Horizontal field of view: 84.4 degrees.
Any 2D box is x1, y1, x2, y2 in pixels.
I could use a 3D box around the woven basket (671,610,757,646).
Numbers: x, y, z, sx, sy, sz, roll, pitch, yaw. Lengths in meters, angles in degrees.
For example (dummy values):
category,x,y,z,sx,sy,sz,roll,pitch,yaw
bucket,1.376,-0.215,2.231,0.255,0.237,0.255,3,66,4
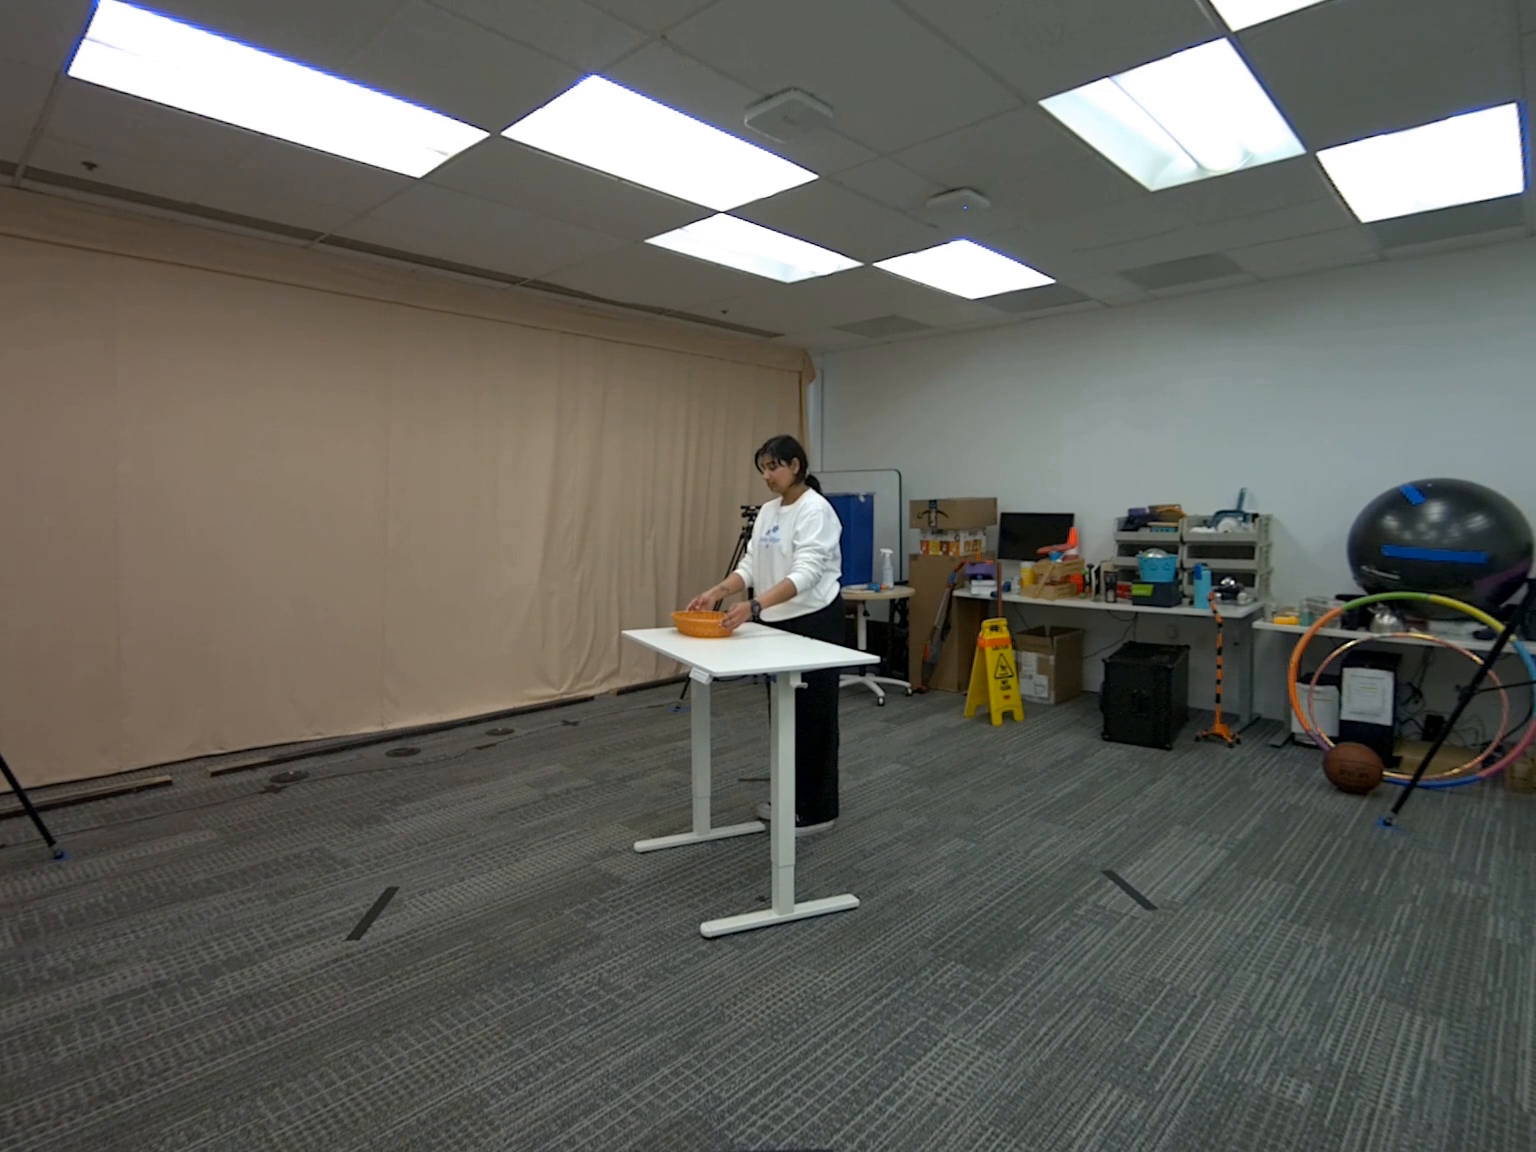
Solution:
category,x,y,z,sx,sy,sz,roll,pitch,yaw
woven basket,-0.225,0.203,3.397,0.248,0.073,0.358,-3,6,-19
